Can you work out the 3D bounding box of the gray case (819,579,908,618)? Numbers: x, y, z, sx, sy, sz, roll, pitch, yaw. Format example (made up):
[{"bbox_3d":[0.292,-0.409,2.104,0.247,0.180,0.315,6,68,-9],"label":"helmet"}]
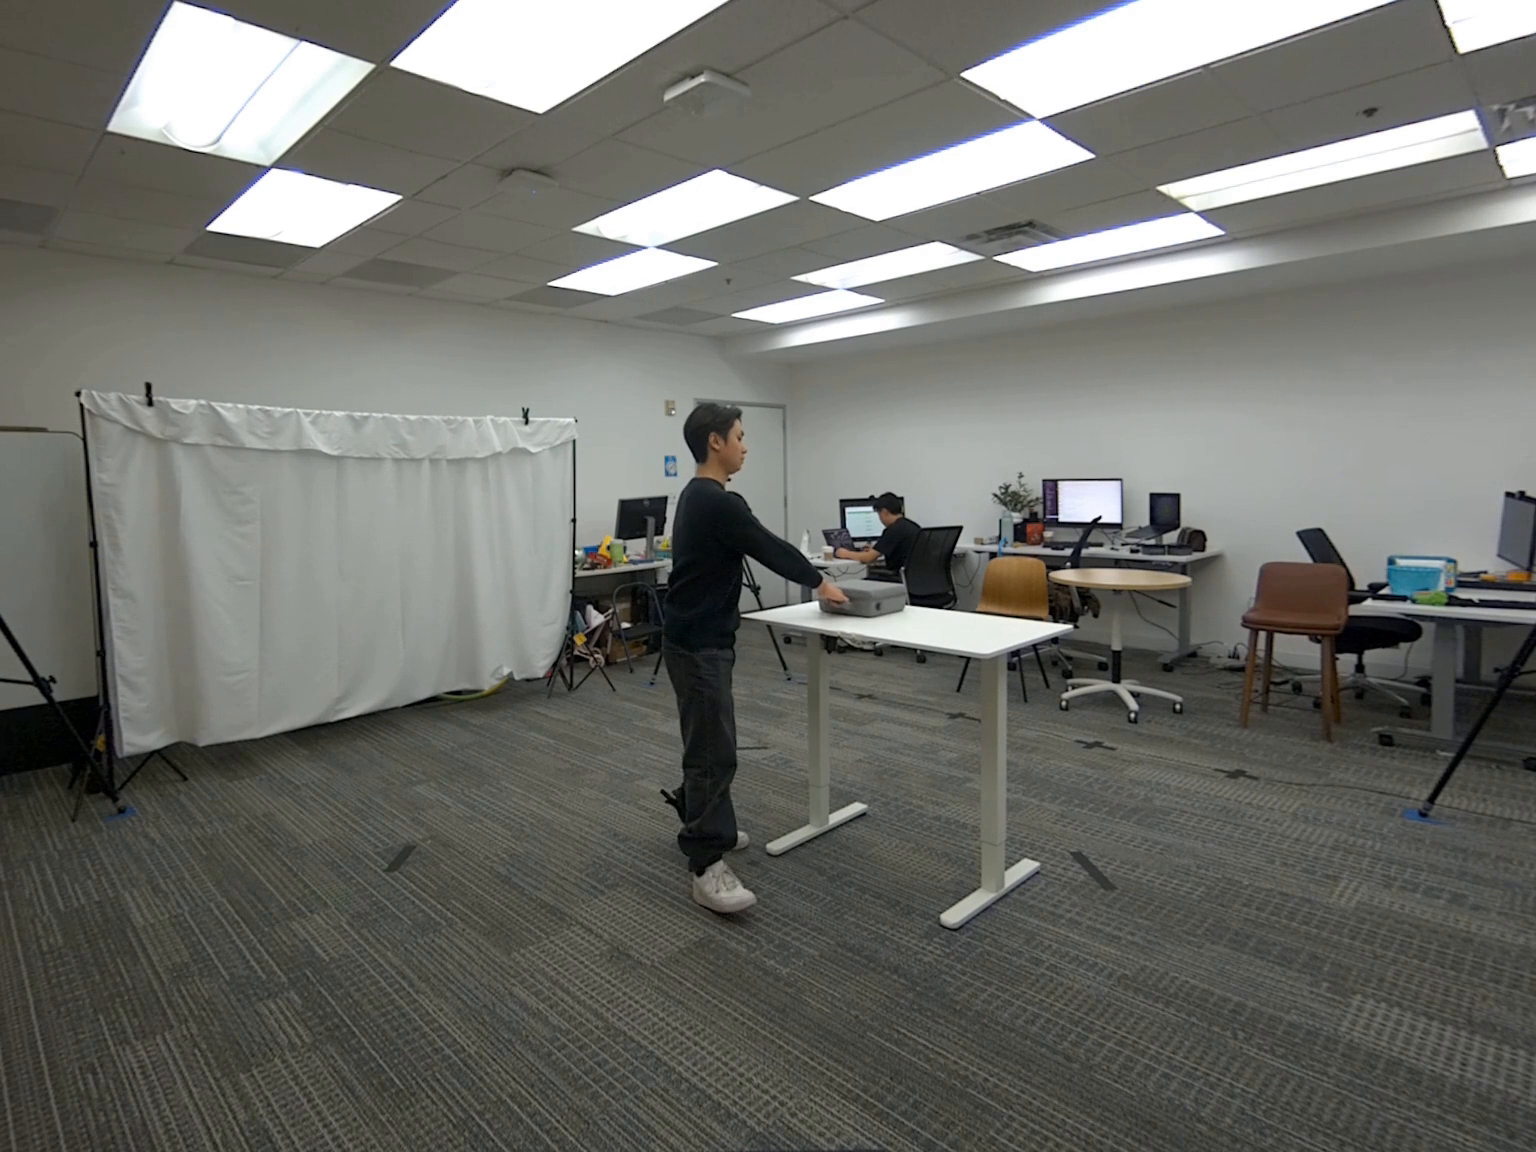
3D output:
[{"bbox_3d":[0.351,0.080,3.231,0.265,0.104,0.254,7,10,43],"label":"gray case"}]
